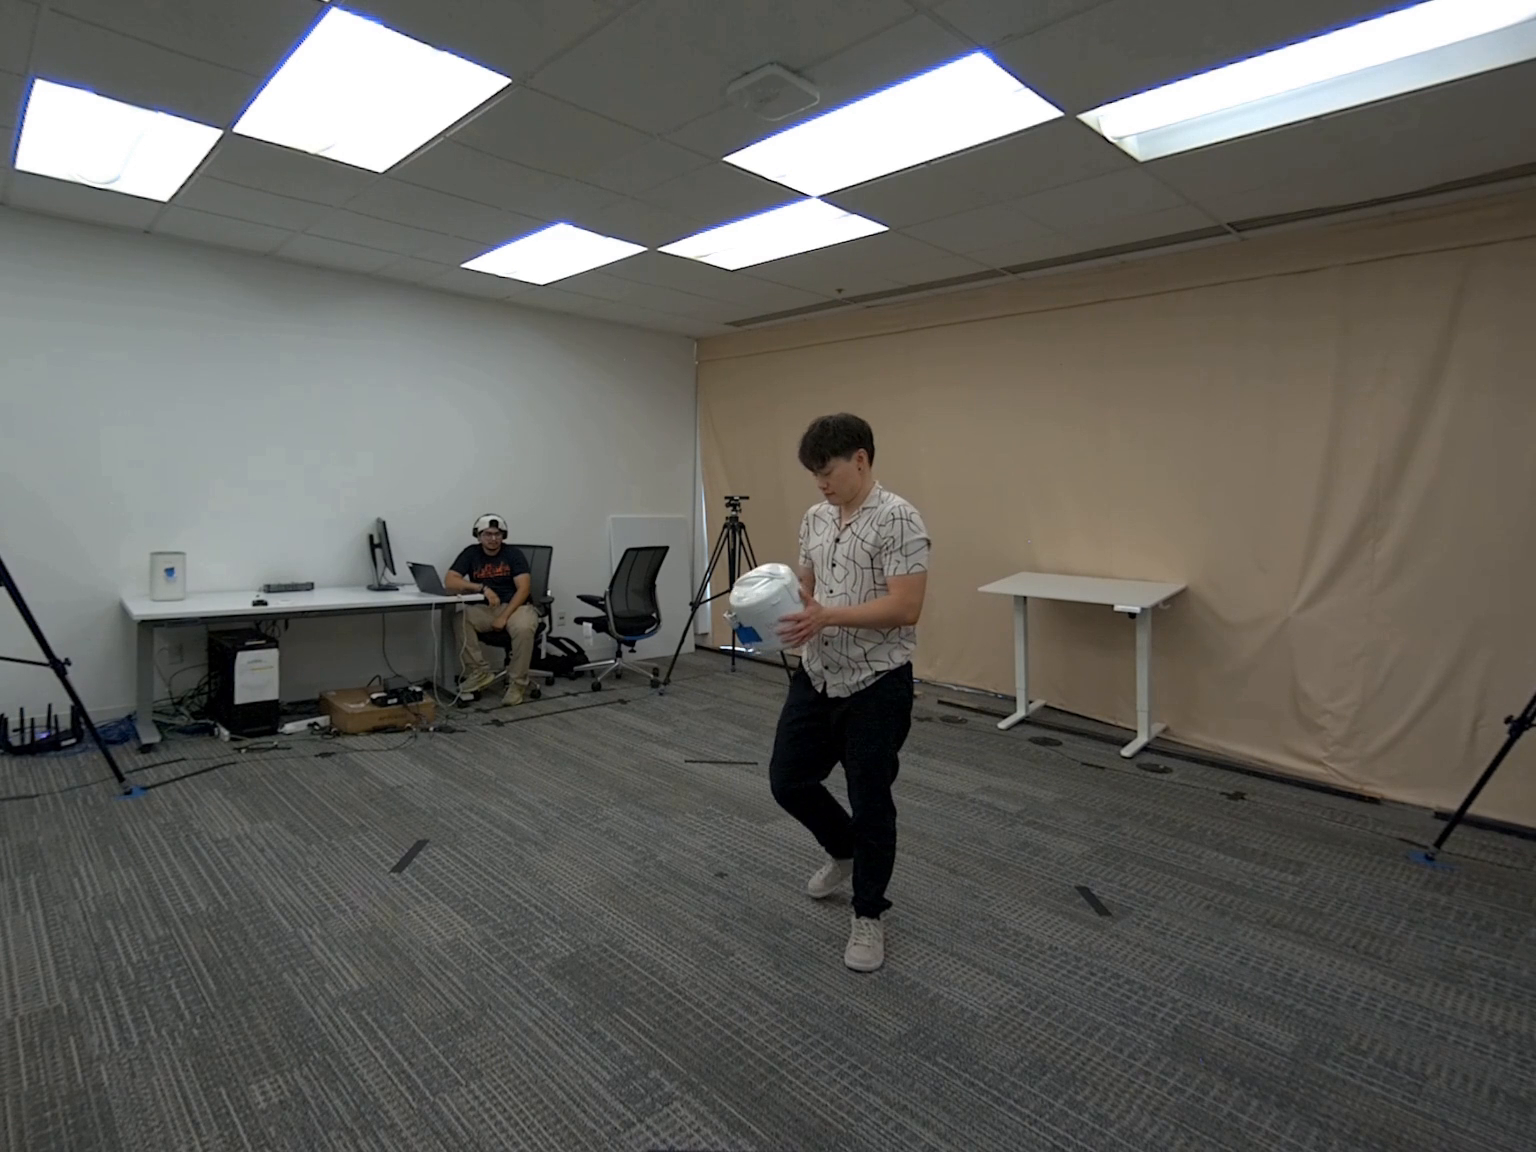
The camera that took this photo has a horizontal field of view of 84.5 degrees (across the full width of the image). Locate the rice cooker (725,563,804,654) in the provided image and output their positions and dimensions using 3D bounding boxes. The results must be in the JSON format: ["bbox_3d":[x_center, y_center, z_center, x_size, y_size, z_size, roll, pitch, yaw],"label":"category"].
[{"bbox_3d":[0.002,0.085,2.475,0.224,0.228,0.218,-12,28,38],"label":"rice cooker"}]
